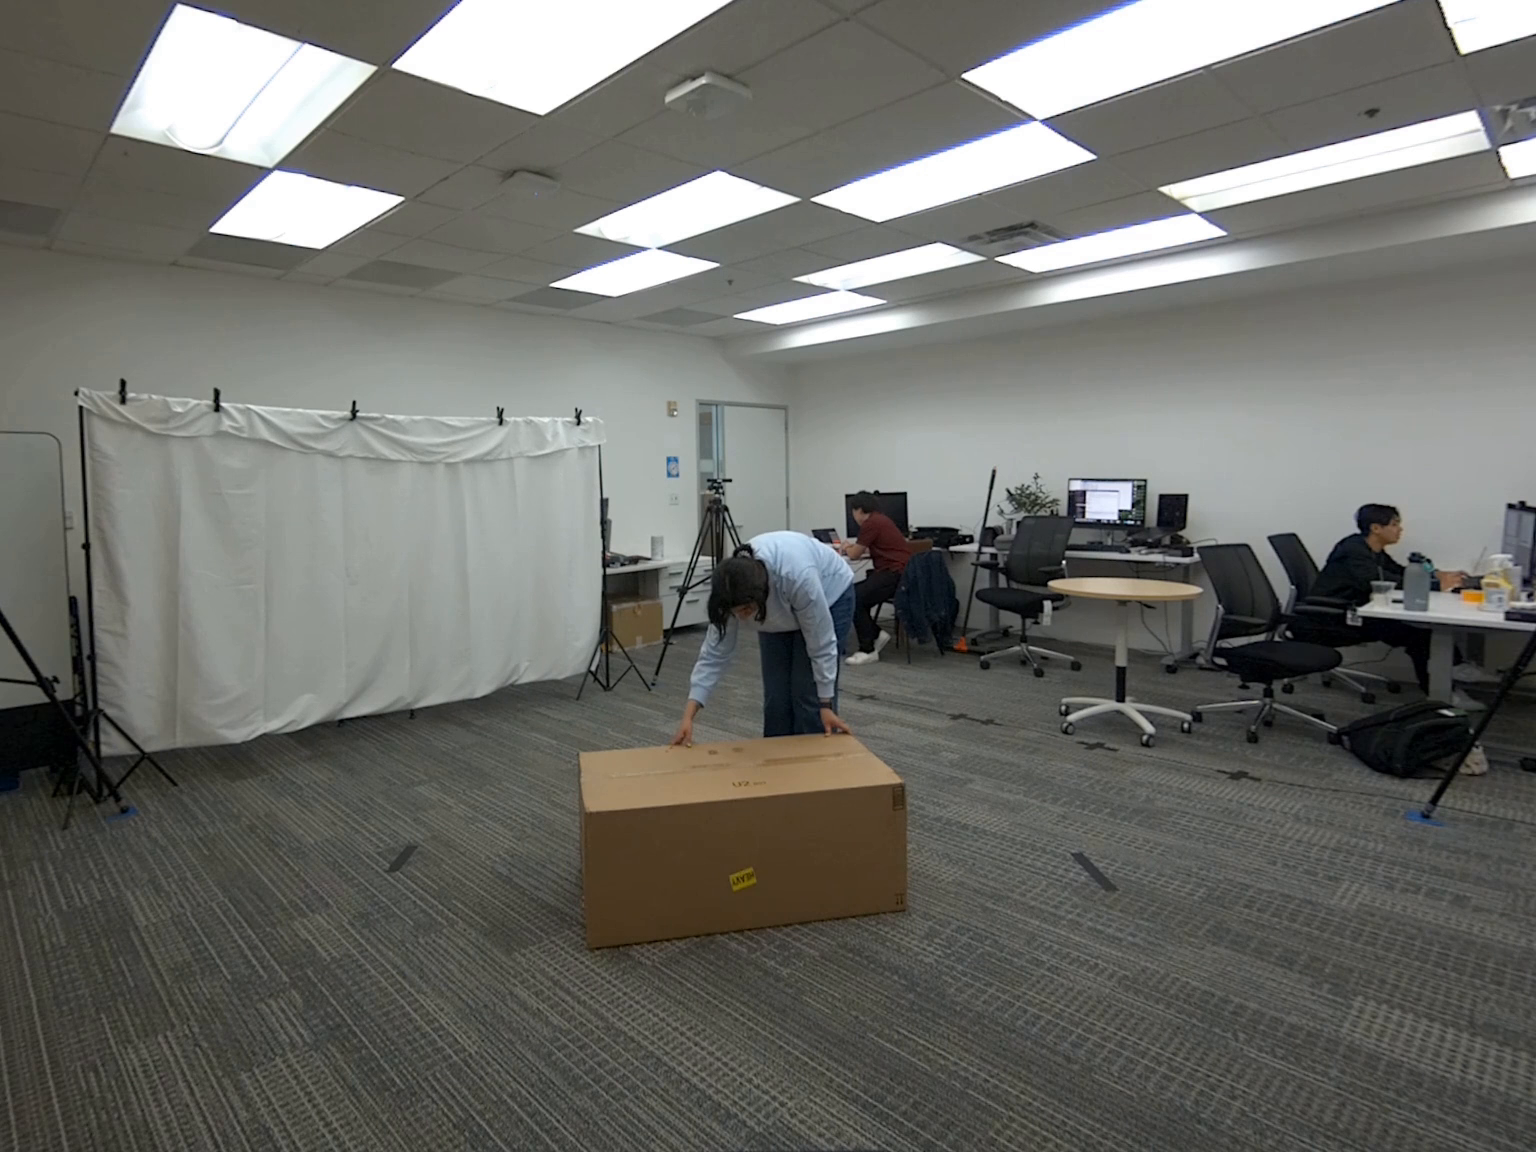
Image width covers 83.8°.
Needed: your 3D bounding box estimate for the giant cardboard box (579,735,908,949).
[{"bbox_3d":[-0.120,0.857,2.915,1.015,0.425,0.586,-2,5,-12],"label":"giant cardboard box"}]
